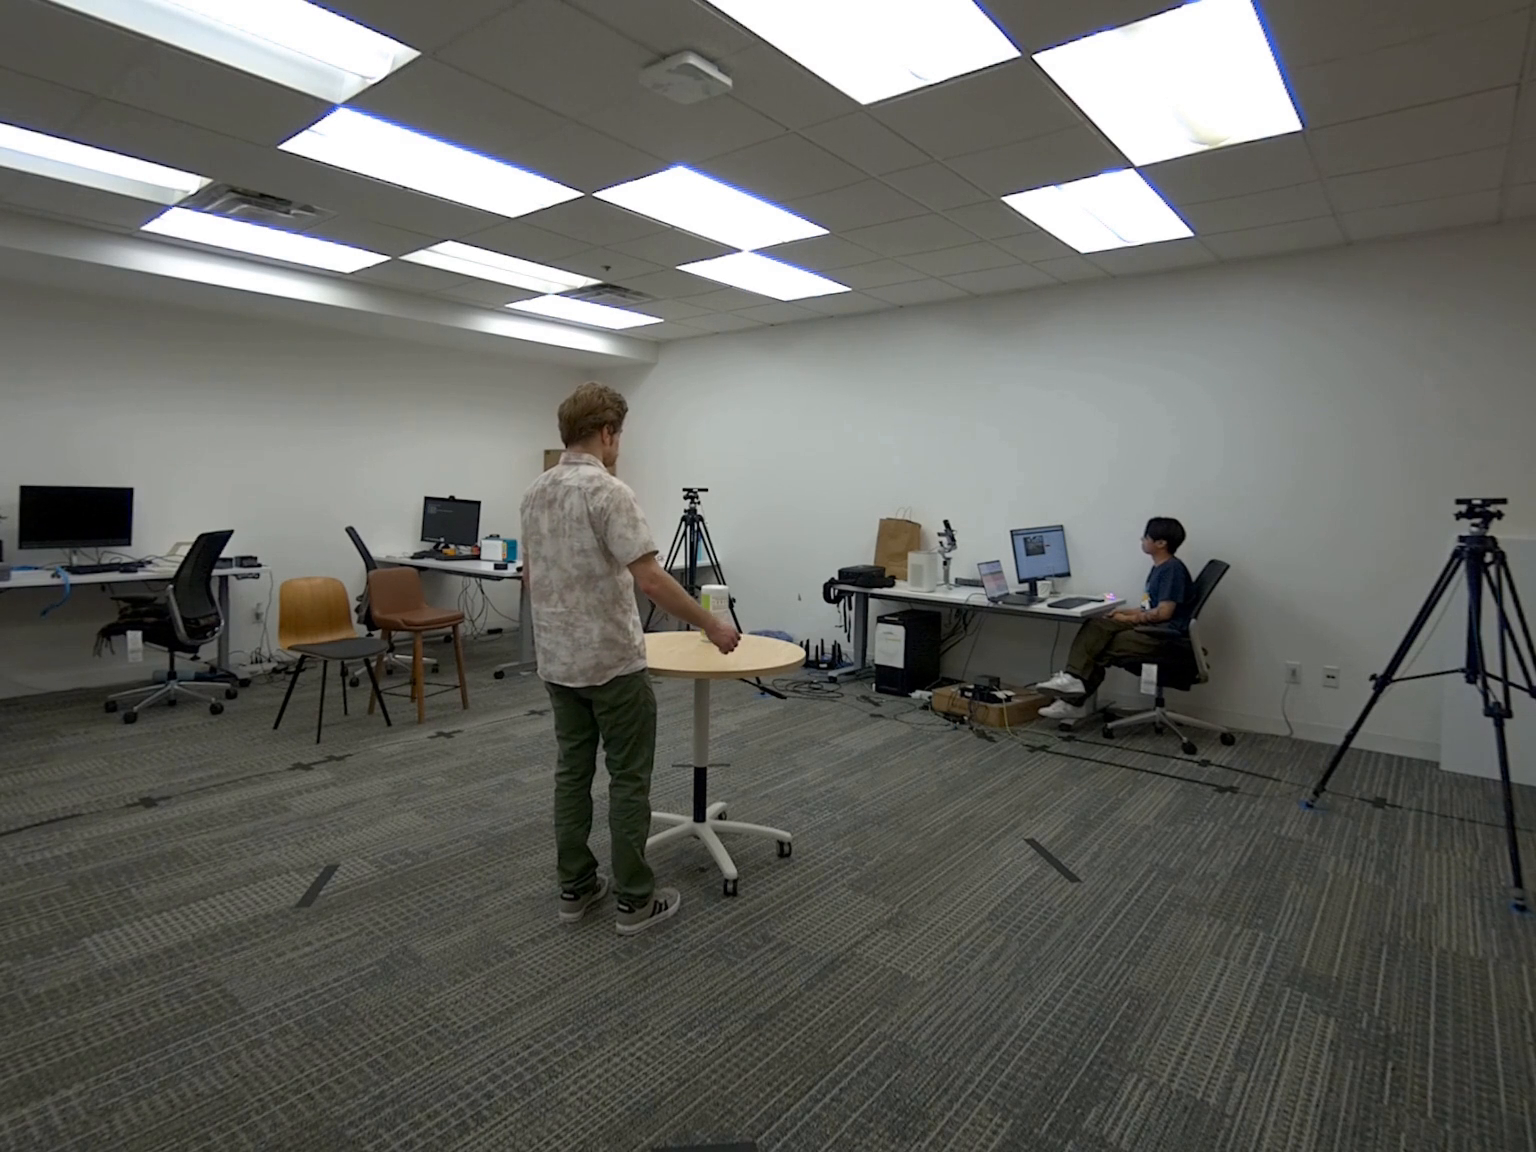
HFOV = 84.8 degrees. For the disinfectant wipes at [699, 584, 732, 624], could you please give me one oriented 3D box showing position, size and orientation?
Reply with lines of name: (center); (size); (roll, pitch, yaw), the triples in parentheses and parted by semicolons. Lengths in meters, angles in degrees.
disinfectant wipes: (-0.217, 0.145, 3.352); (0.117, 0.217, 0.118); (1, 4, -2)
